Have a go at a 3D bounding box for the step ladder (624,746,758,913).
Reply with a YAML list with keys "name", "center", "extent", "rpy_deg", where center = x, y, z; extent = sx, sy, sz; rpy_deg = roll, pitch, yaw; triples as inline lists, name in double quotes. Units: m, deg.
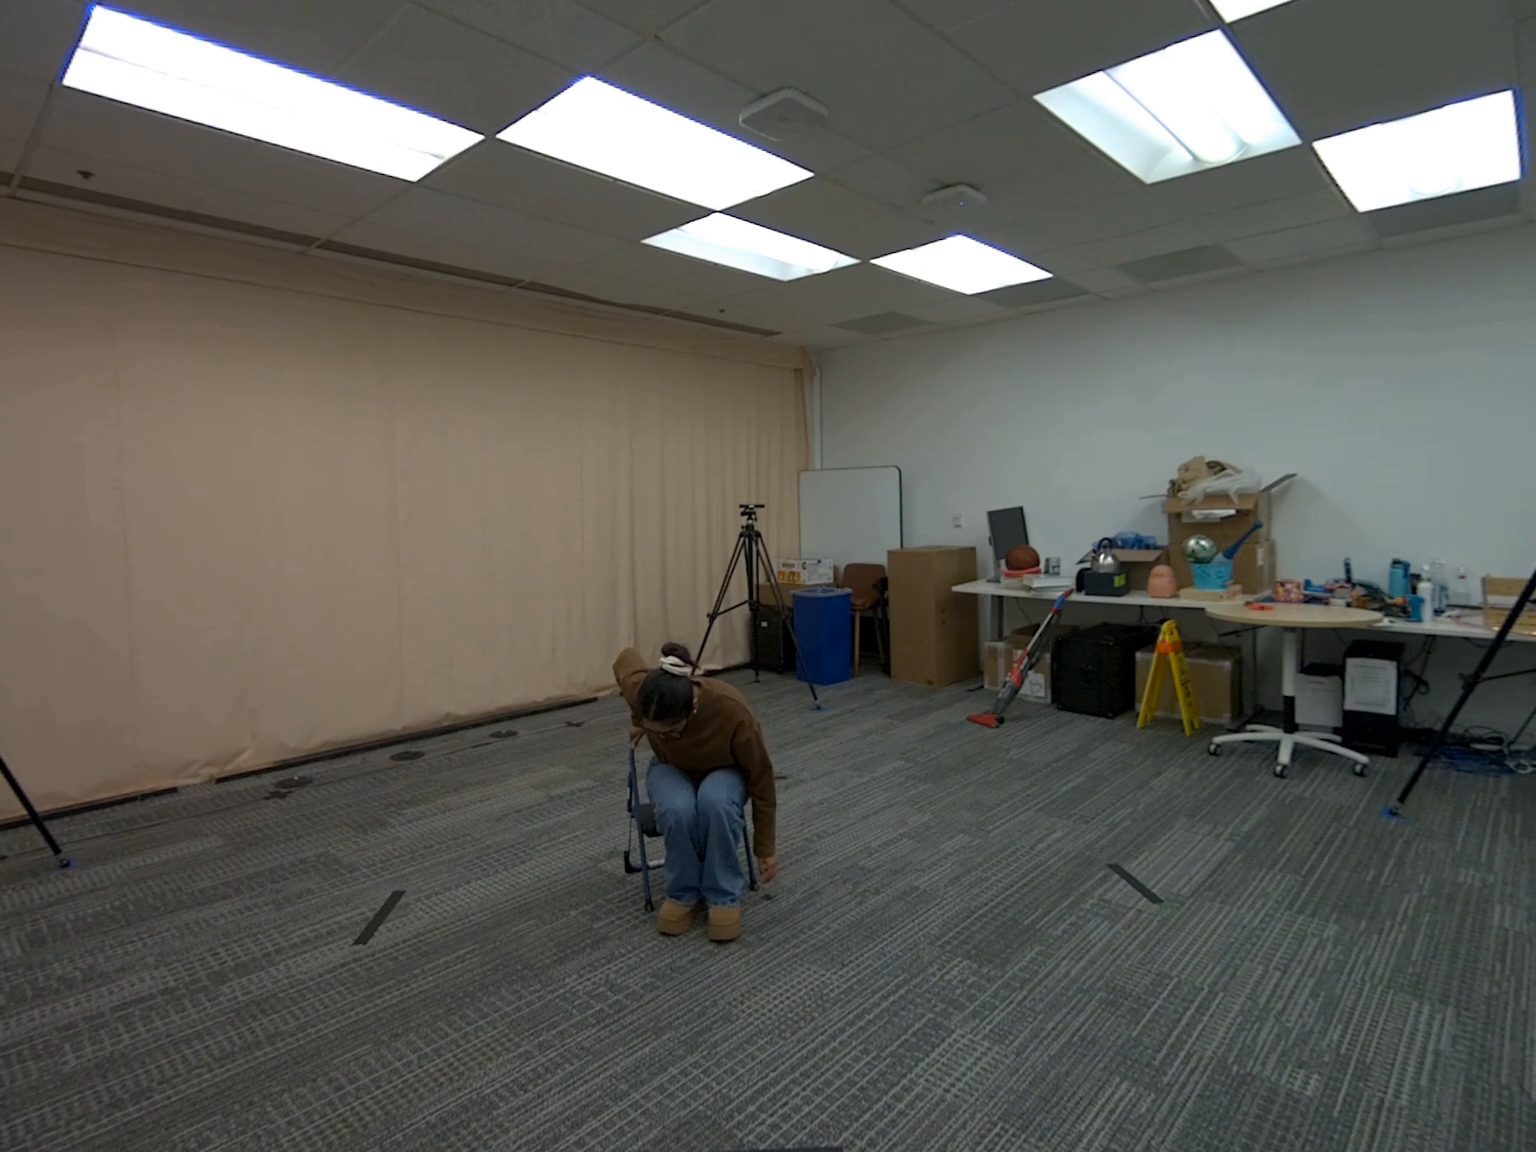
- name: "step ladder"
  center: [-0.300, 0.835, 3.120]
  extent: [0.421, 0.604, 0.357]
  rpy_deg: [-3, 4, -22]
